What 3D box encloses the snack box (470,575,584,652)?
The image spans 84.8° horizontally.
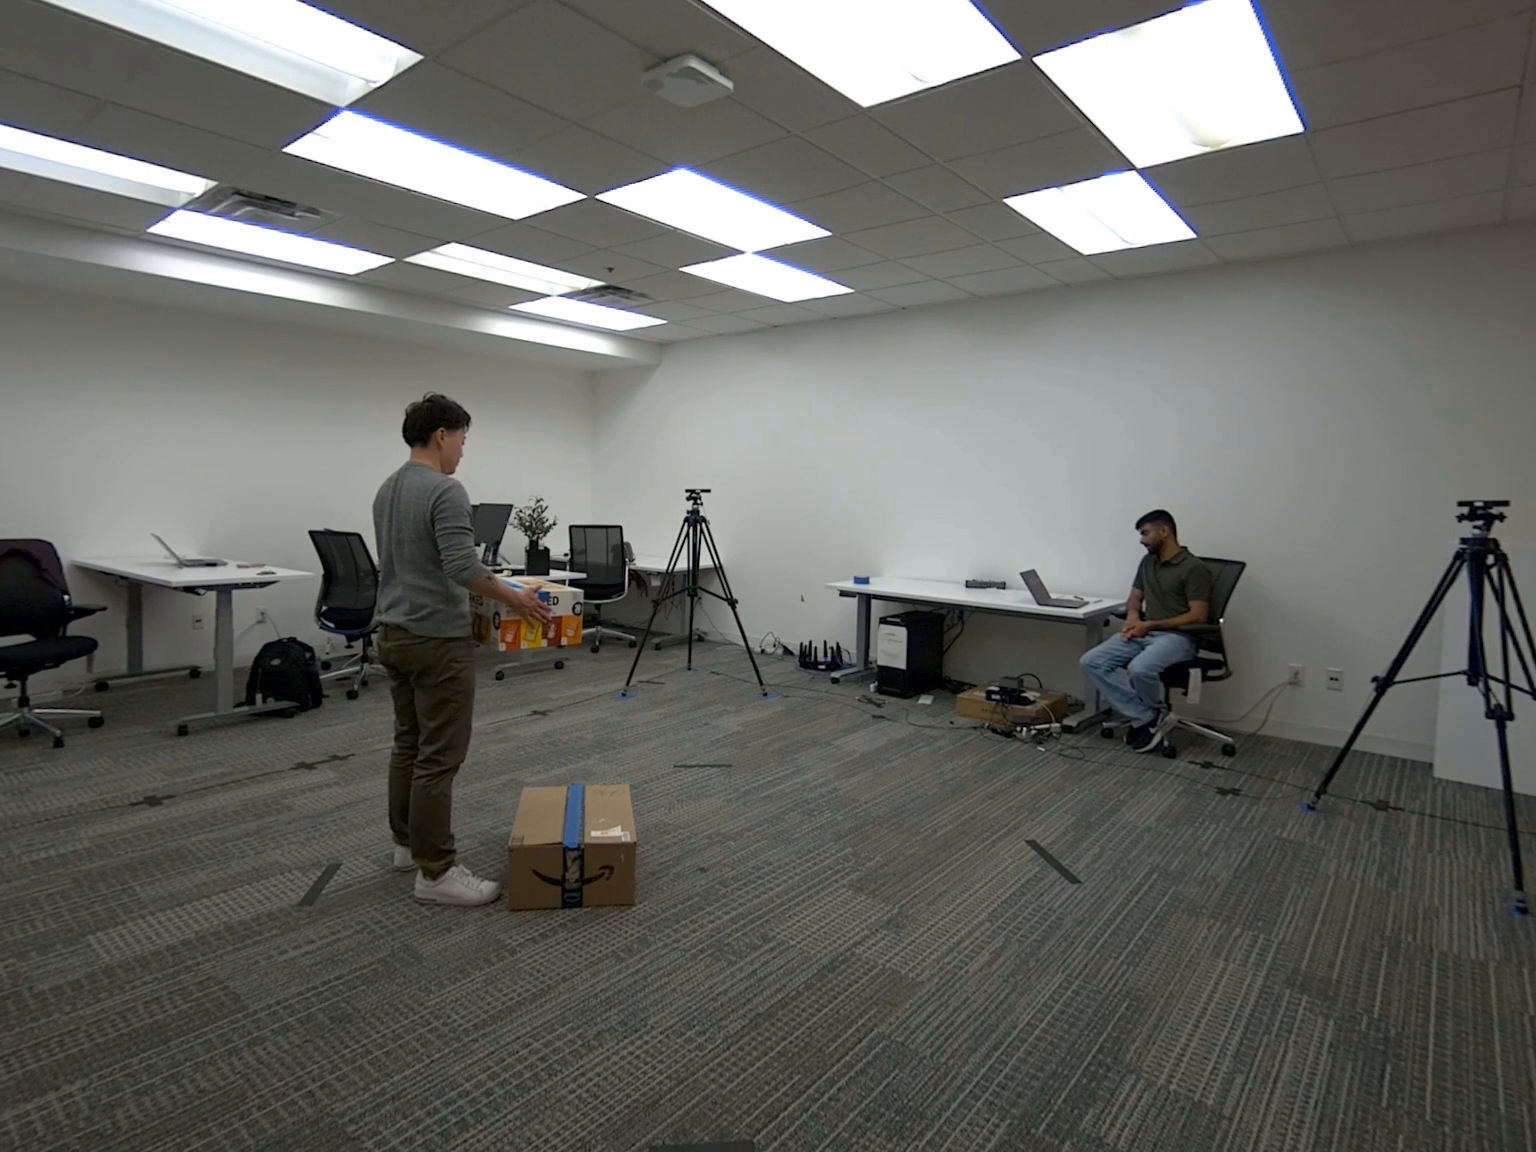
[{"bbox_3d":[-0.970,0.134,3.212,0.330,0.205,0.420,-2,8,-43],"label":"snack box"}]
